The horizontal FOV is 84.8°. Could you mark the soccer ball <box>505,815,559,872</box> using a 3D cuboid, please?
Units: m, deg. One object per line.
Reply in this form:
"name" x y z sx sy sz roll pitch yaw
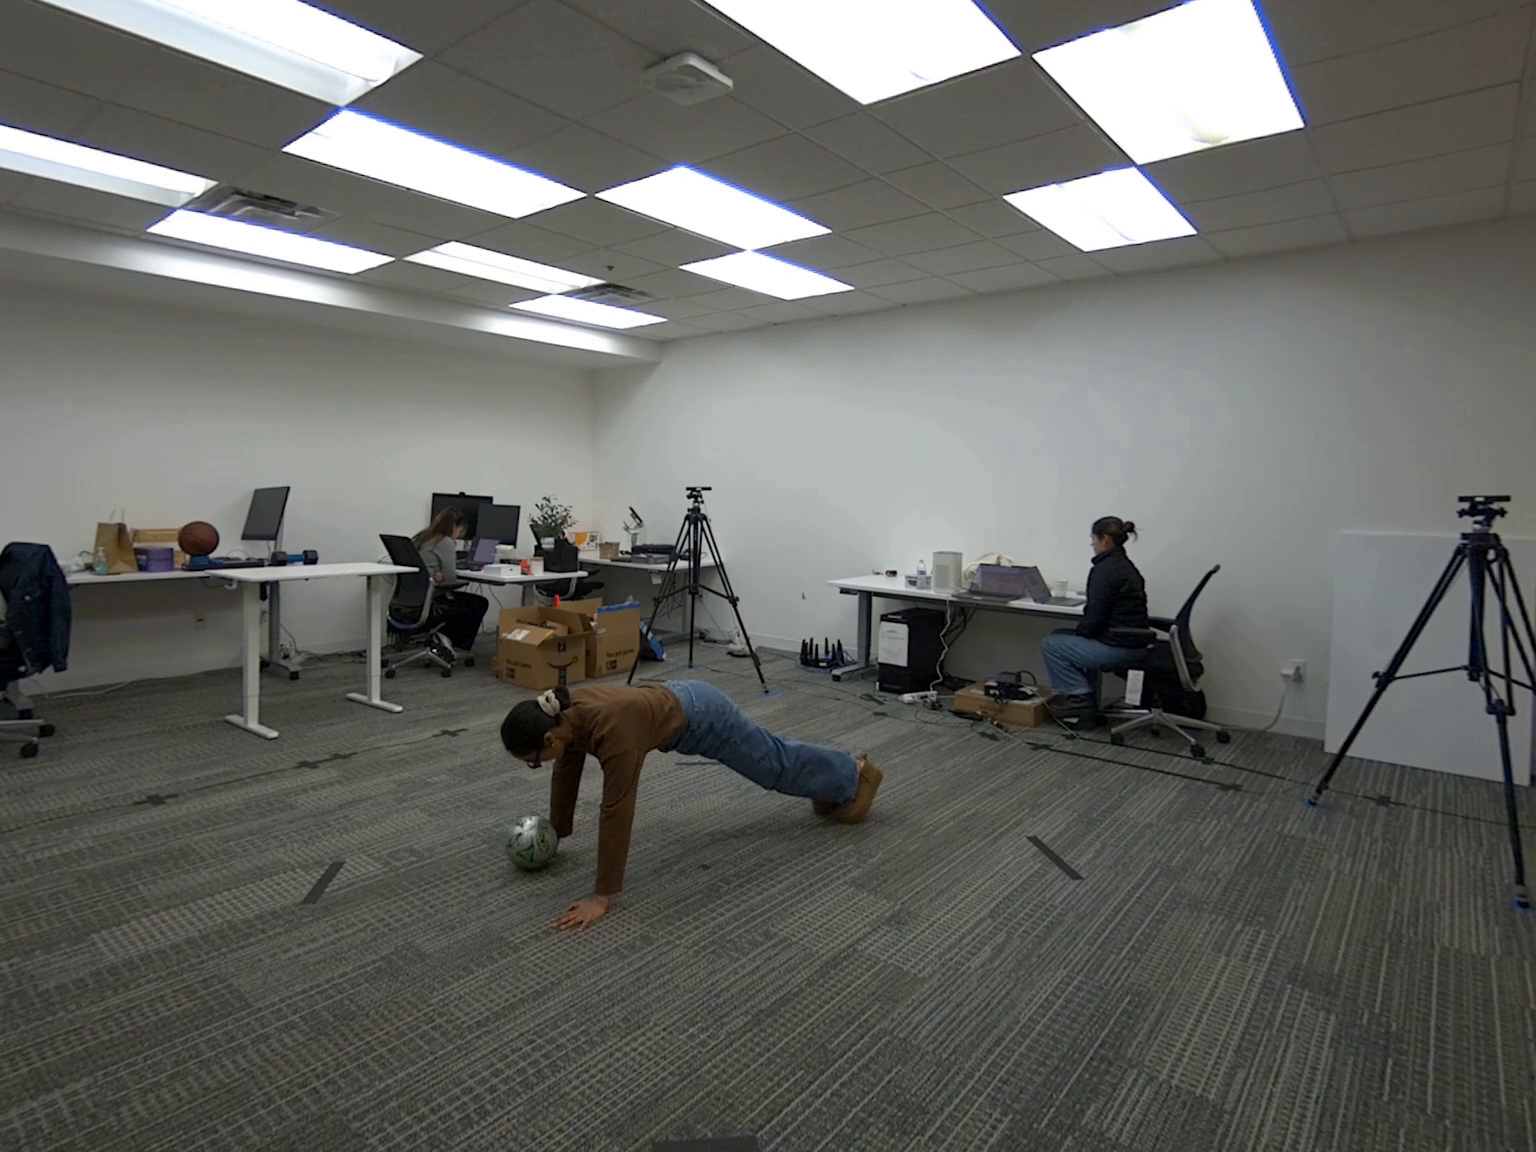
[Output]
"soccer ball" -0.877 0.966 3.089 0.187 0.187 0.188 1 4 -2
